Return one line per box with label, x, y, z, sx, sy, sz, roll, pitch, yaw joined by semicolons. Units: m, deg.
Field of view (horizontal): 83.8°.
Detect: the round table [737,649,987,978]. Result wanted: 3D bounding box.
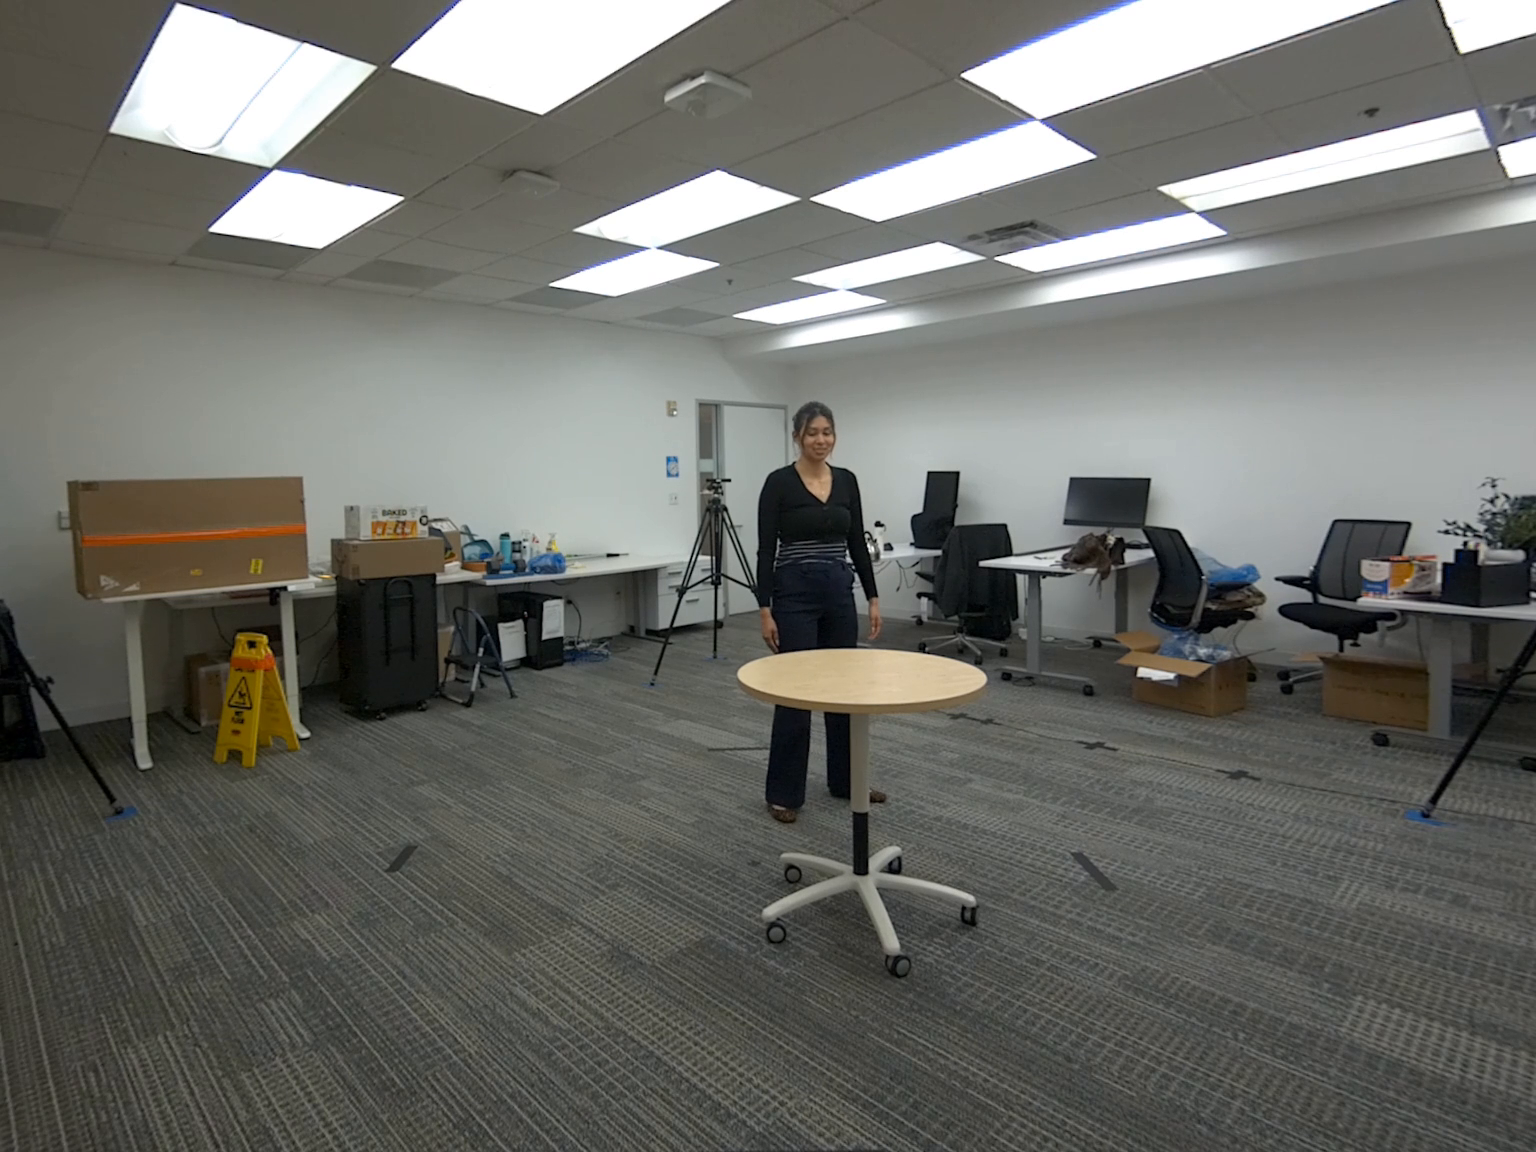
round table;0.295;0.701;2.707;0.763;0.791;0.768;-1;5;-2
